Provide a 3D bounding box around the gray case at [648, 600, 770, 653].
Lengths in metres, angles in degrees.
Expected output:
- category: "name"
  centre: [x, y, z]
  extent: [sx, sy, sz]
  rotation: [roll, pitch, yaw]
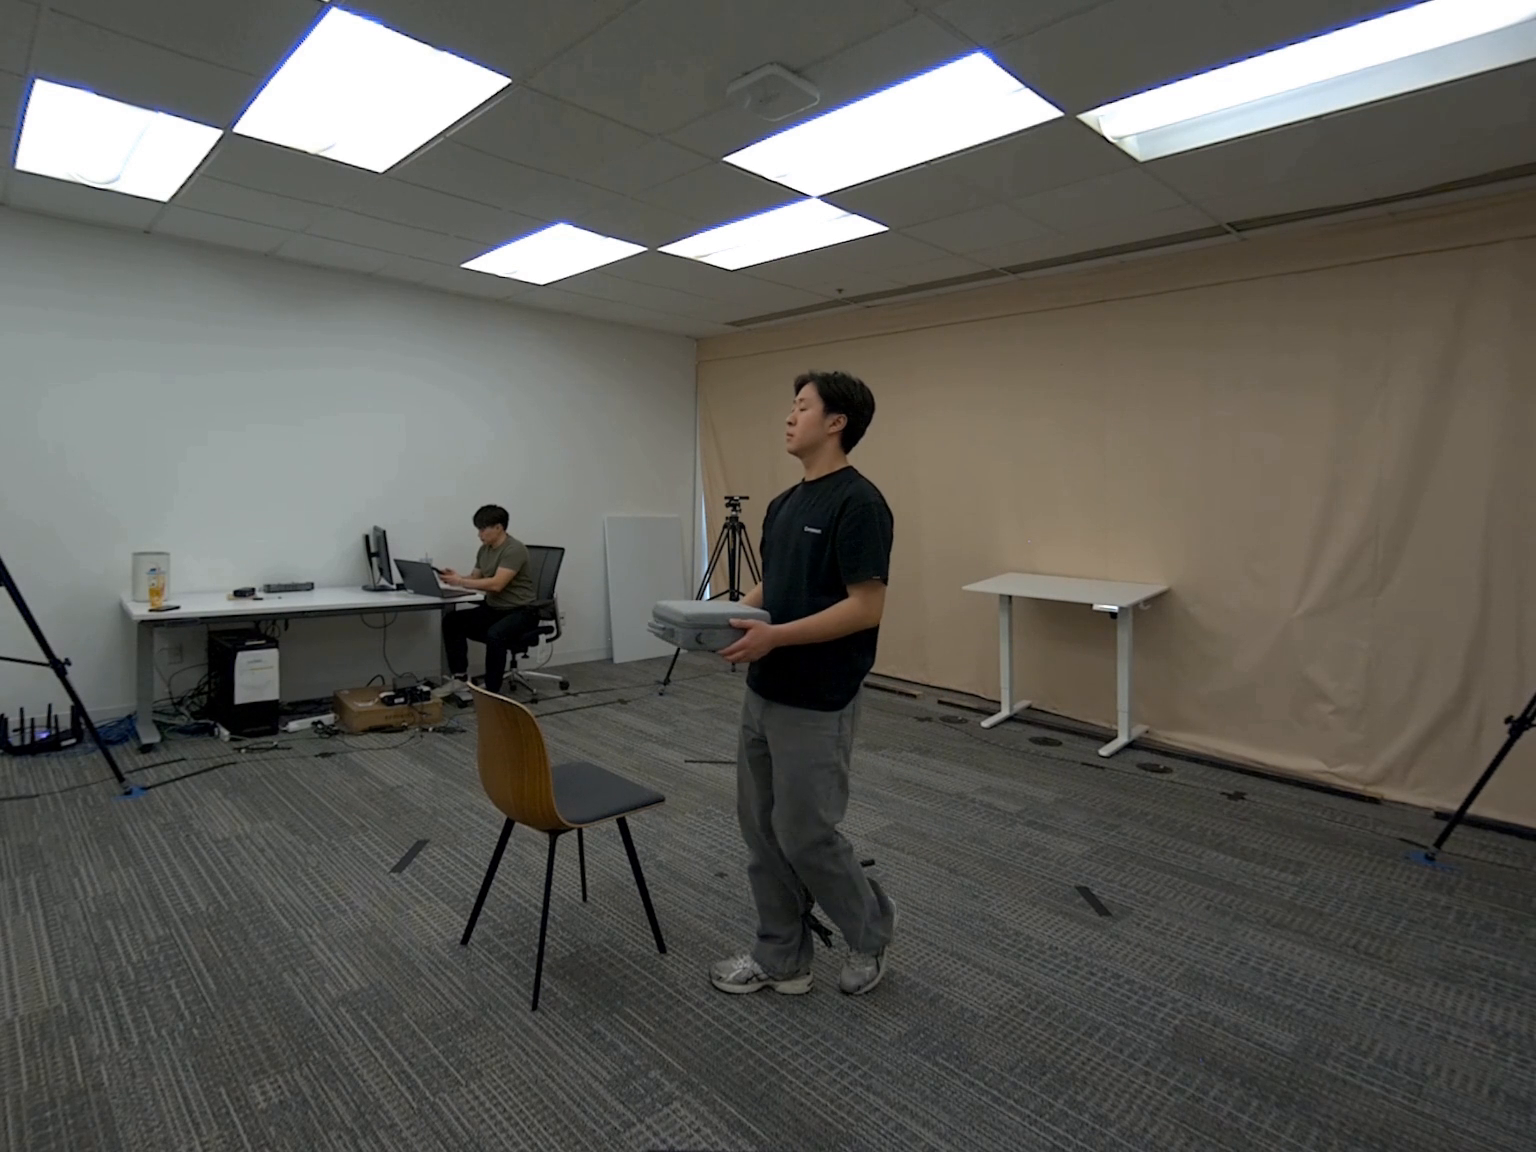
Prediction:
- category: "gray case"
  centre: [-0.158, 0.136, 2.229]
  extent: [0.281, 0.102, 0.270]
  rotation: [-3, 7, -32]
